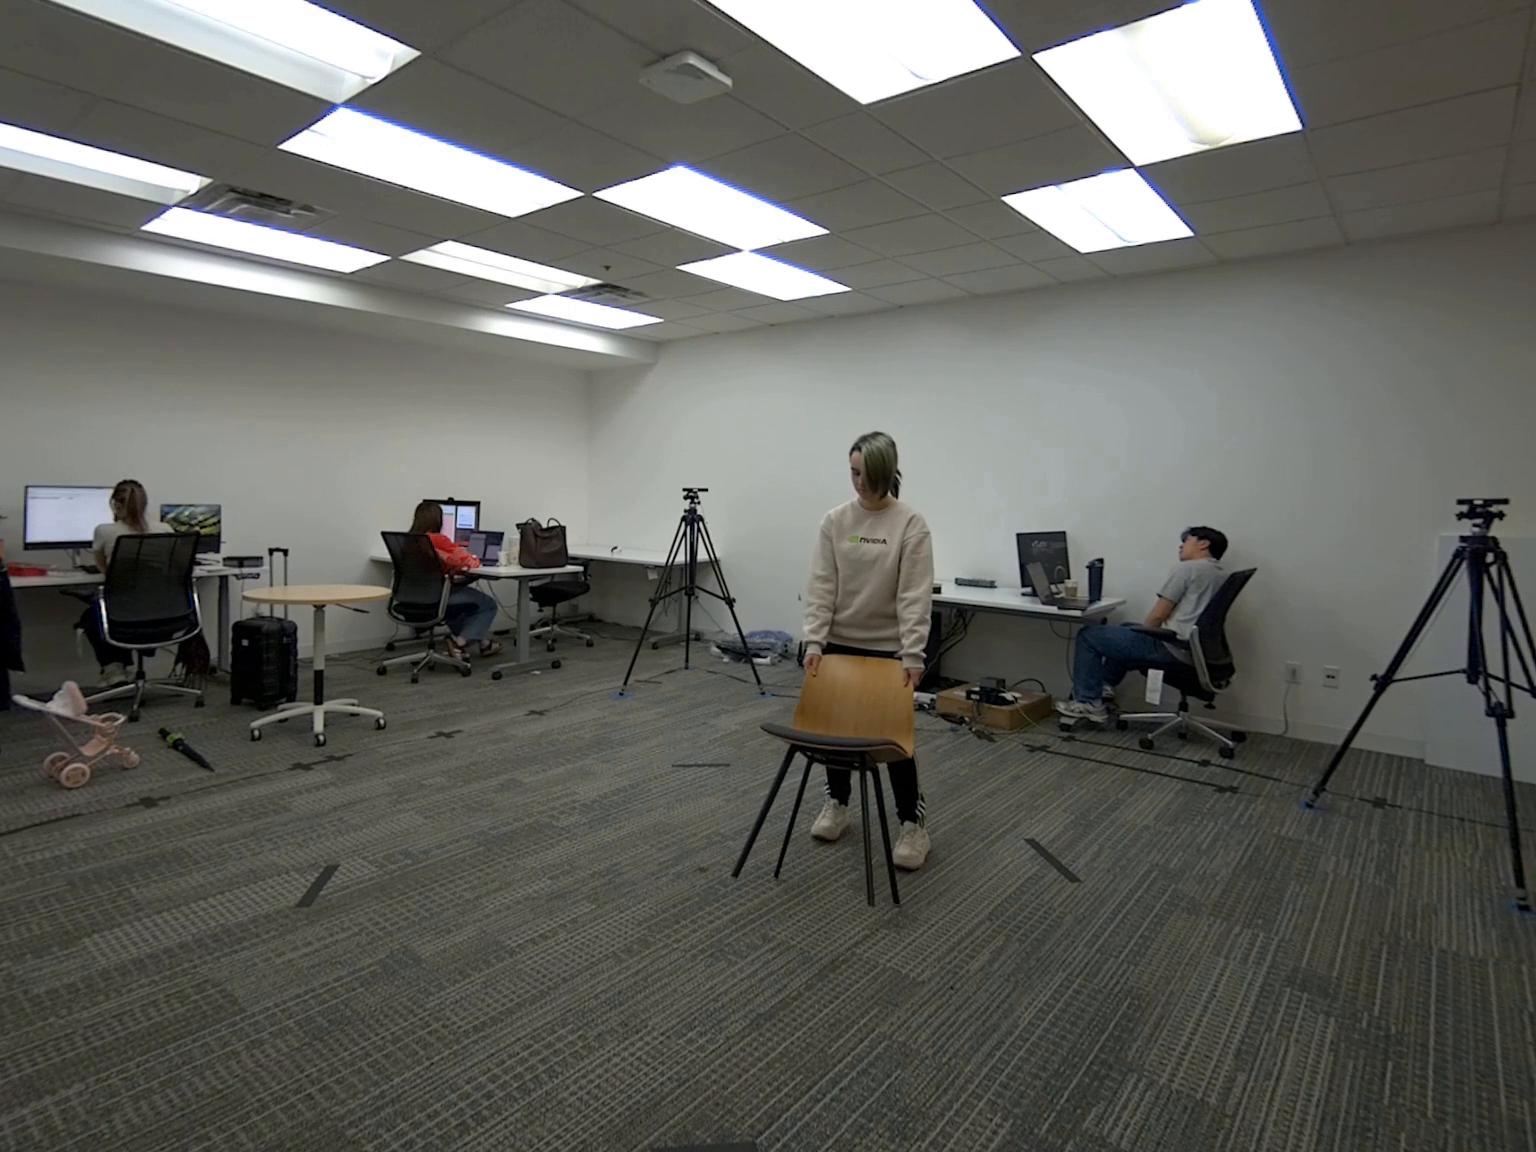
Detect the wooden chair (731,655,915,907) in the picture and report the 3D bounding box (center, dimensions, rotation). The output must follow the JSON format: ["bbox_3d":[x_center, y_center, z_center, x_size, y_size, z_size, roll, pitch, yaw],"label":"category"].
[{"bbox_3d":[0.221,0.616,2.889,0.490,0.890,0.503,2,-23,23],"label":"wooden chair"}]
